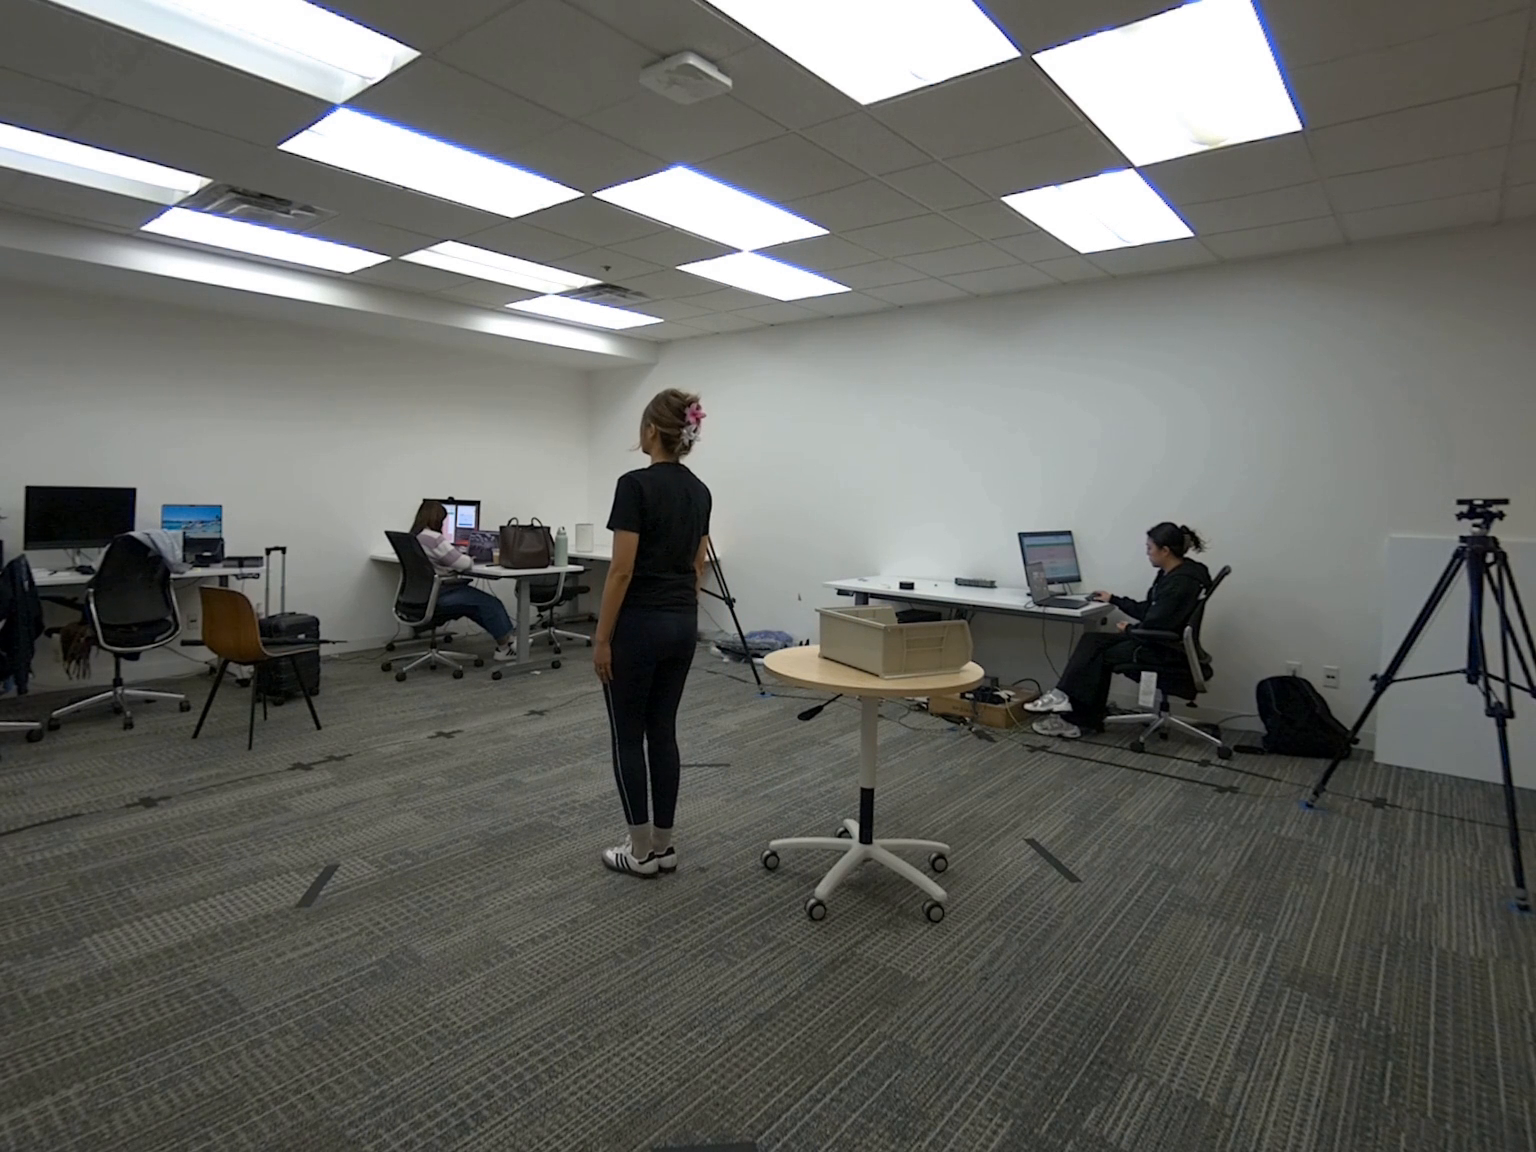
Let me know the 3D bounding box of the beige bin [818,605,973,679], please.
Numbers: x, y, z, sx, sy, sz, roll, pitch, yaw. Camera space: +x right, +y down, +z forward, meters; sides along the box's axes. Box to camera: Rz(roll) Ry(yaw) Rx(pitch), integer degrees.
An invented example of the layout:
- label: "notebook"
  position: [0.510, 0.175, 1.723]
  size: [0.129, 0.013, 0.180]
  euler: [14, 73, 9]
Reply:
- label: "beige bin"
  position: [0.429, 0.224, 3.024]
  size: [0.368, 0.188, 0.435]
  euler: [-3, 7, -27]
